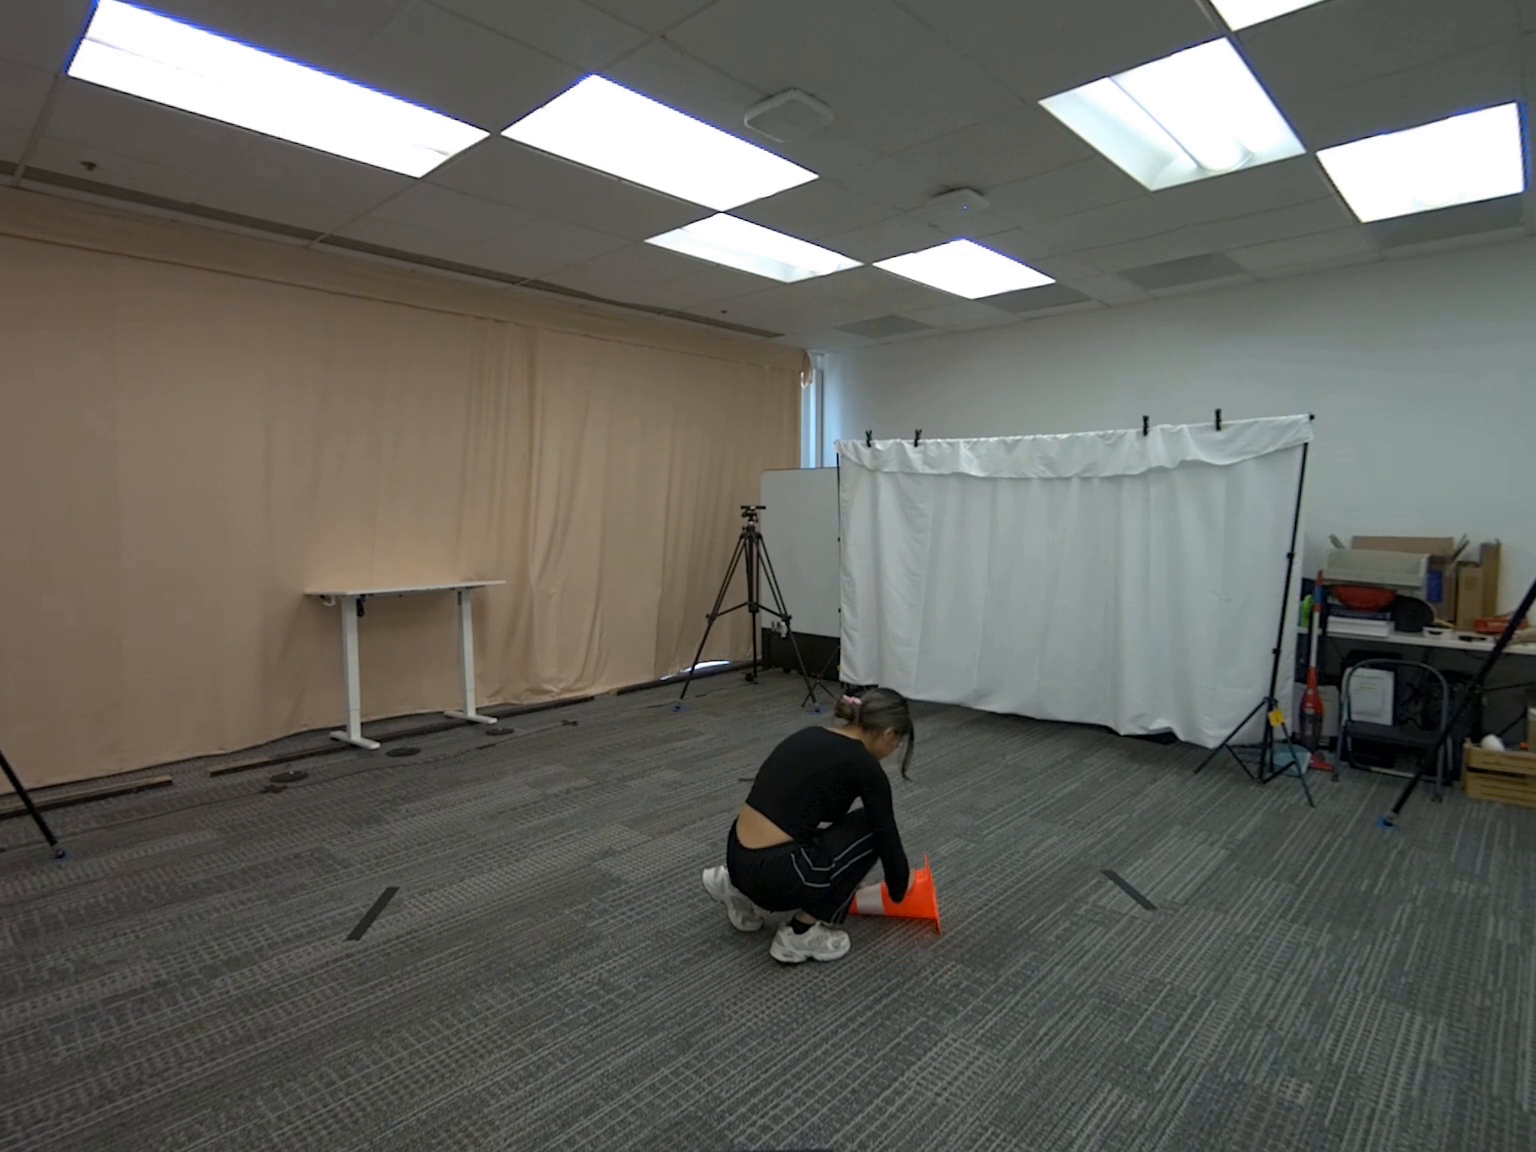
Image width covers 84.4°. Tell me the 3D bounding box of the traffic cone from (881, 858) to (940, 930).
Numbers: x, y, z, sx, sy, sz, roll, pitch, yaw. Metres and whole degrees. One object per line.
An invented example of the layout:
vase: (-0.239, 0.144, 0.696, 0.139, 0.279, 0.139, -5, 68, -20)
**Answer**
traffic cone: (0.375, 1.089, 2.850, 0.388, 0.206, 0.200, -6, -5, 12)
